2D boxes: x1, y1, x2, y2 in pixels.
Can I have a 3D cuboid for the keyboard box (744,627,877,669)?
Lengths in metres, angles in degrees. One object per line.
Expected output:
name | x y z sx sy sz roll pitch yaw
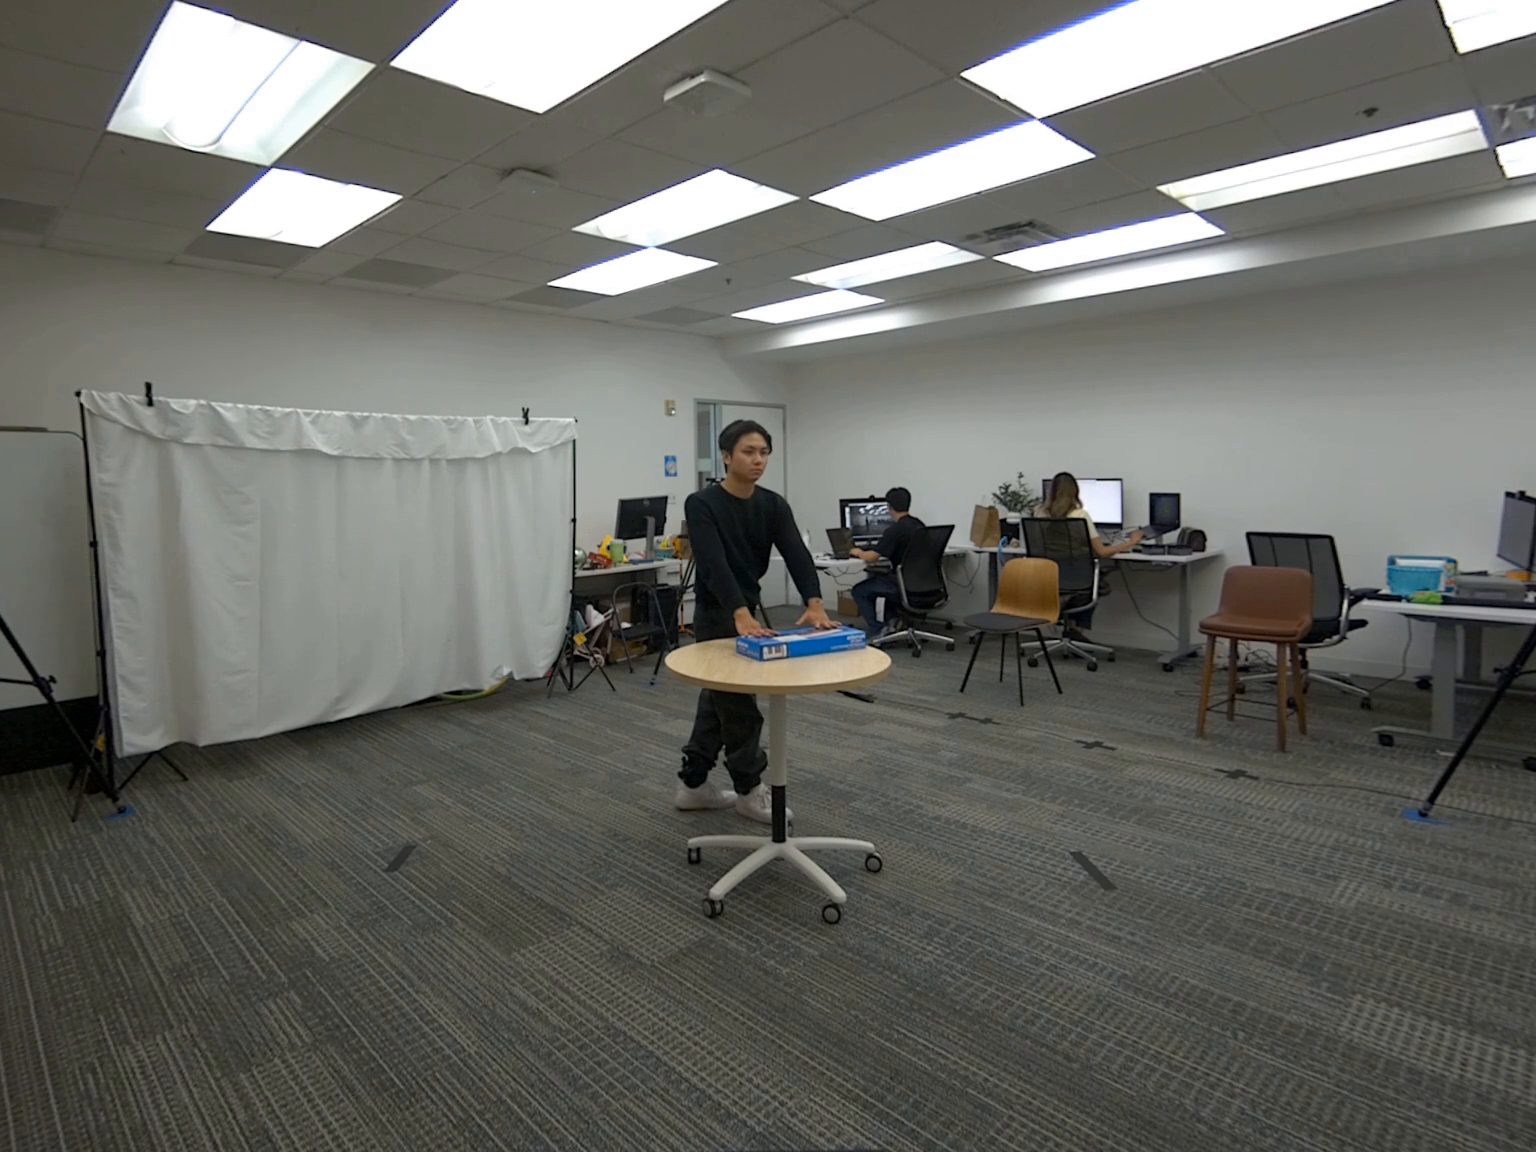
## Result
keyboard box | 0.149 0.247 3.008 0.427 0.059 0.181 -6 8 -29
